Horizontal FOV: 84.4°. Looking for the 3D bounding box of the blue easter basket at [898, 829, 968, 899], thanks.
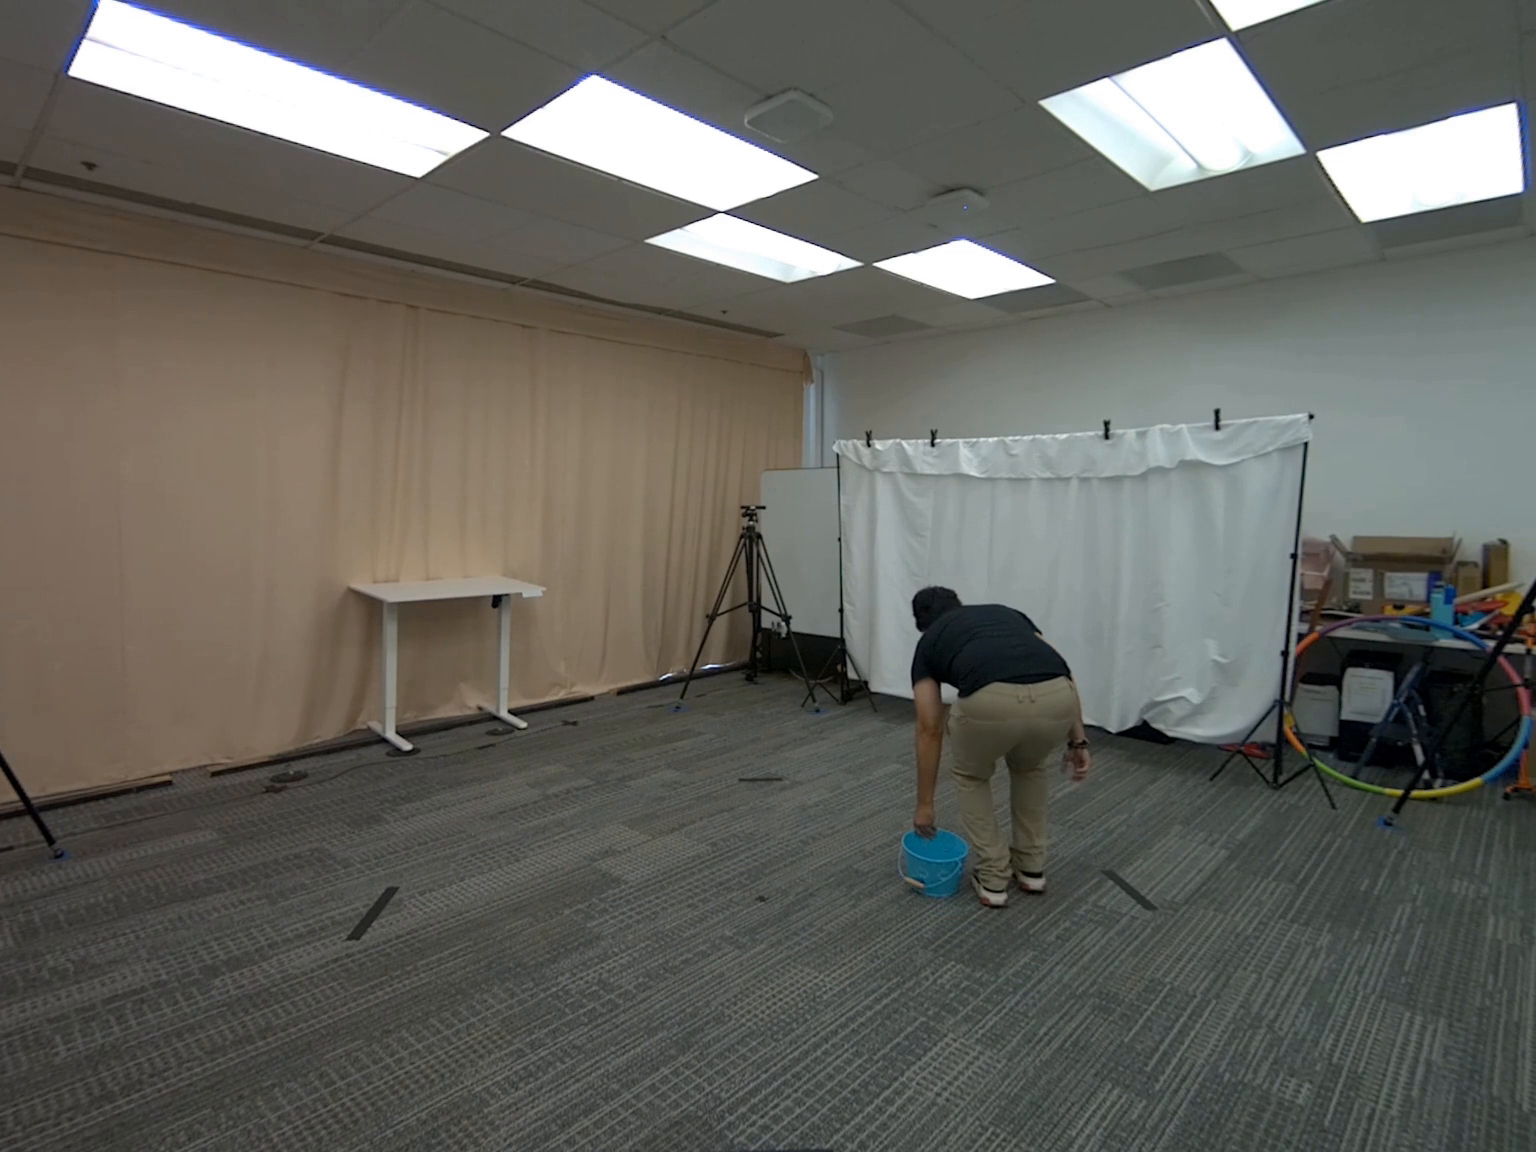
[{"bbox_3d":[0.610,1.051,3.065,0.243,0.155,0.245,0,11,-2],"label":"blue easter basket"}]
